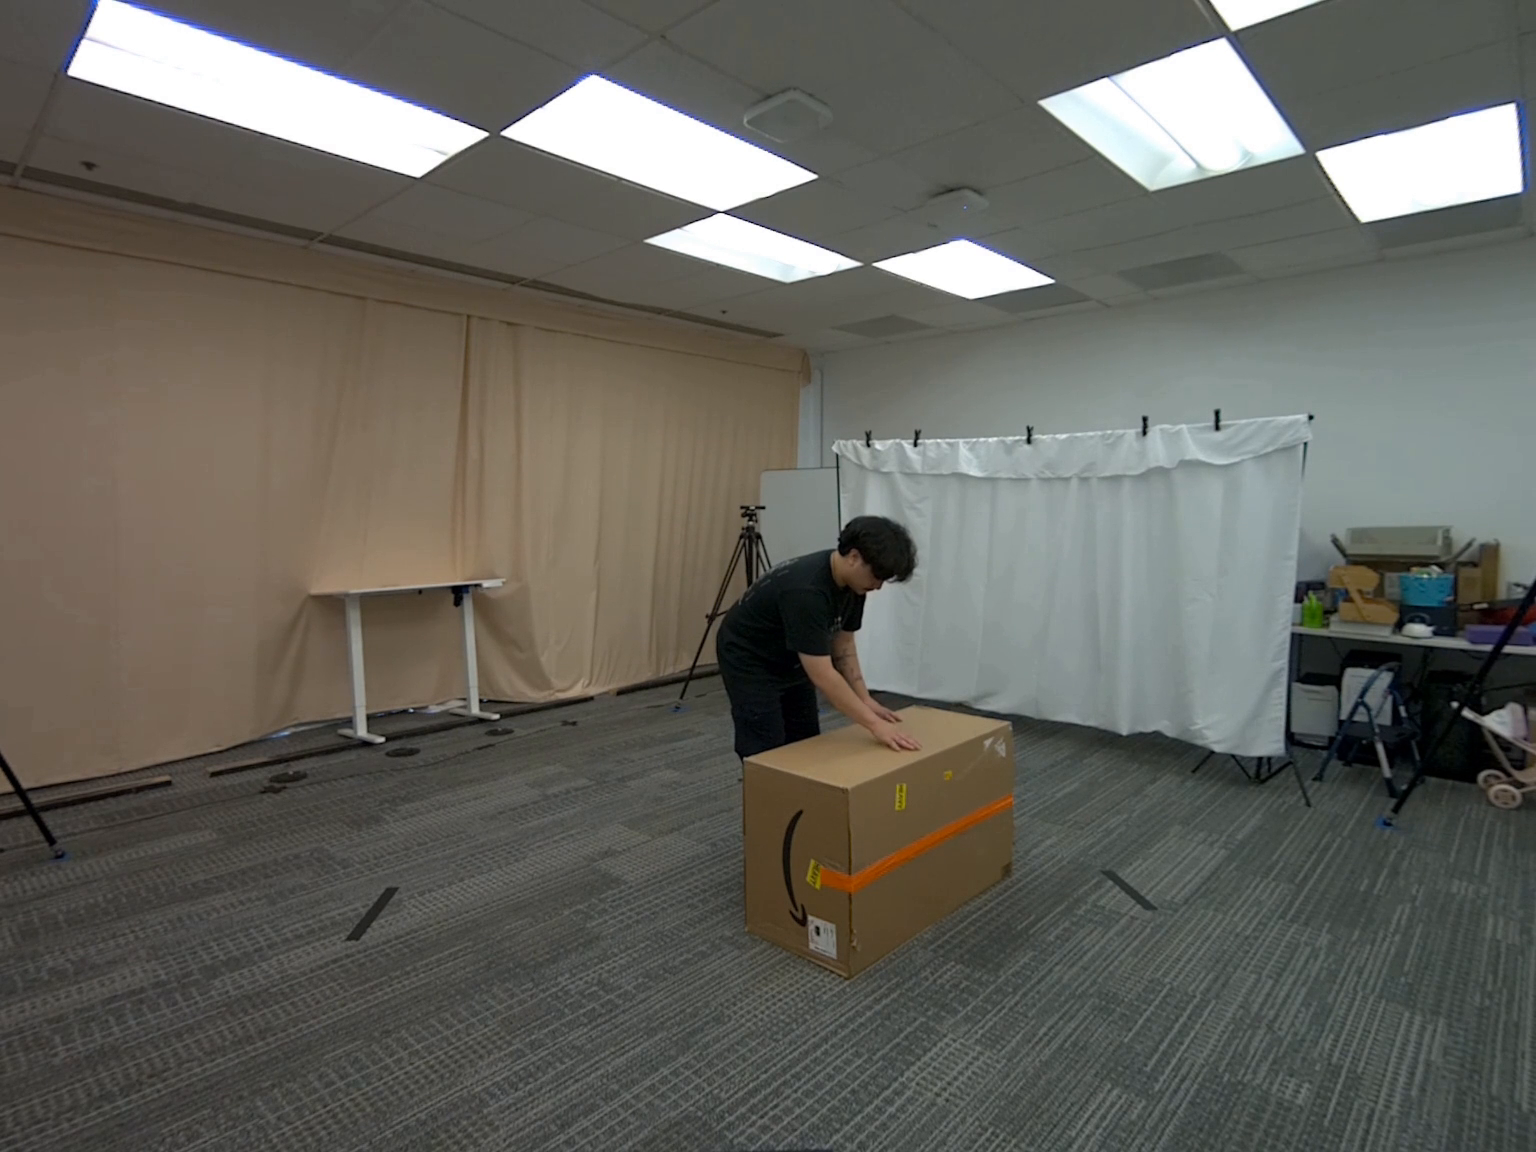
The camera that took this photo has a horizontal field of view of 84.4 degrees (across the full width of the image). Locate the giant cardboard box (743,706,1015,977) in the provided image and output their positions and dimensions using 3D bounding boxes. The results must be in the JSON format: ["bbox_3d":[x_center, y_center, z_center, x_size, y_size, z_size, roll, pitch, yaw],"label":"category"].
[{"bbox_3d":[0.428,0.859,2.953,0.462,0.582,0.996,4,7,43],"label":"giant cardboard box"}]
